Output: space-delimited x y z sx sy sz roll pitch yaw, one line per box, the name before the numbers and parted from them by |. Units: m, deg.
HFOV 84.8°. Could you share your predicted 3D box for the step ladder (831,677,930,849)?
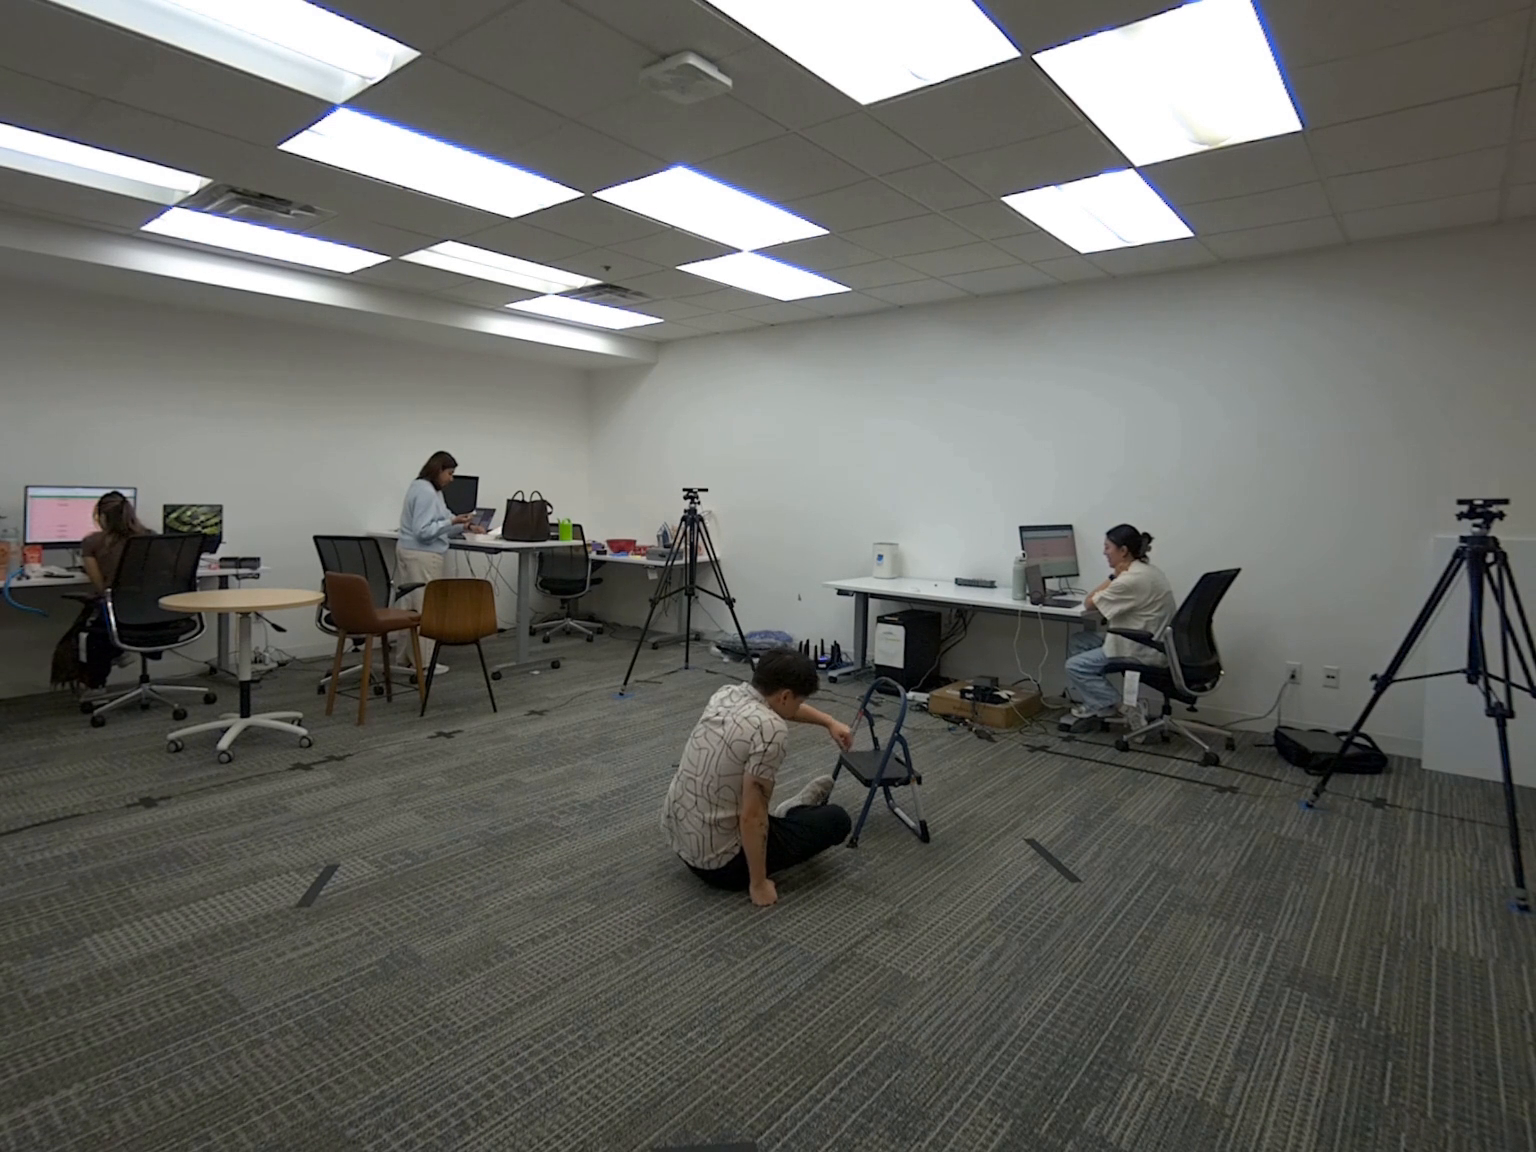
step ladder | 0.436 0.738 3.552 0.345 0.604 0.438 1 4 -13
